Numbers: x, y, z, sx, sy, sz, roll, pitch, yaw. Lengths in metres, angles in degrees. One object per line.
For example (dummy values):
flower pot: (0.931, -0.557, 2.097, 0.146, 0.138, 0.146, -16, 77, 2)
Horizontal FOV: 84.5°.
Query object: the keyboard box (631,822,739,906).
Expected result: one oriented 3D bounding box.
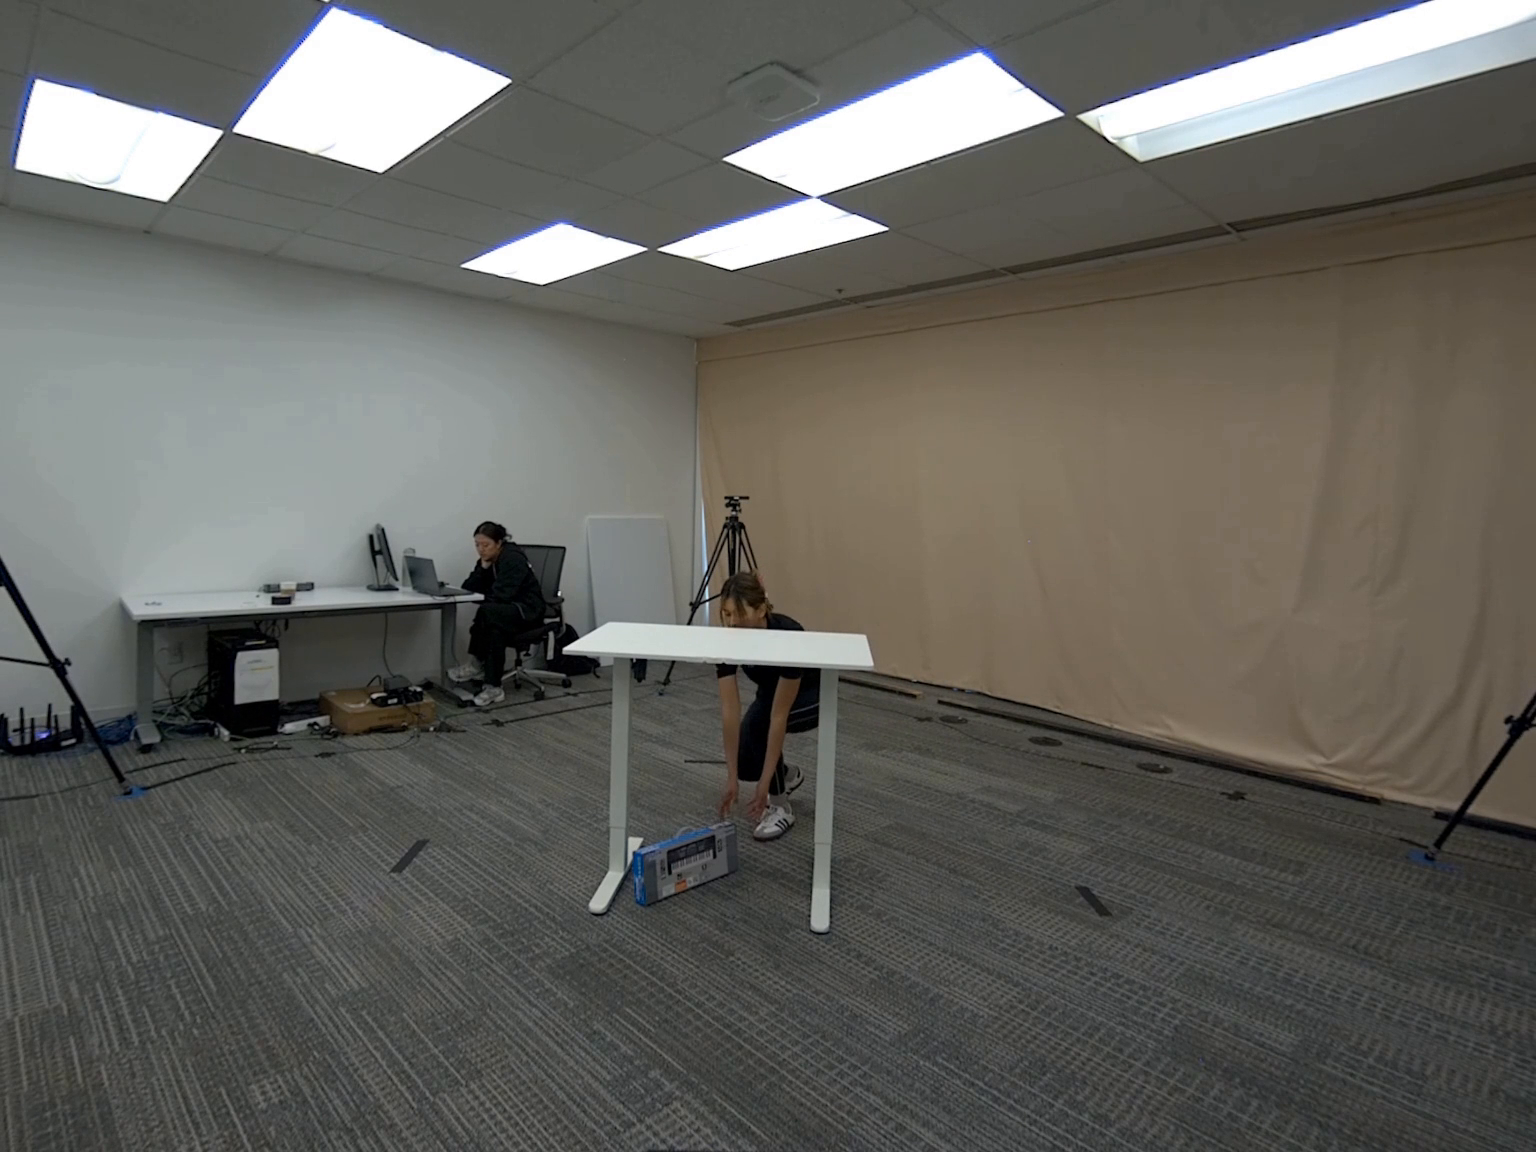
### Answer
keyboard box: (-0.294, 1.024, 3.009, 0.427, 0.176, 0.060, -3, -3, -44)
